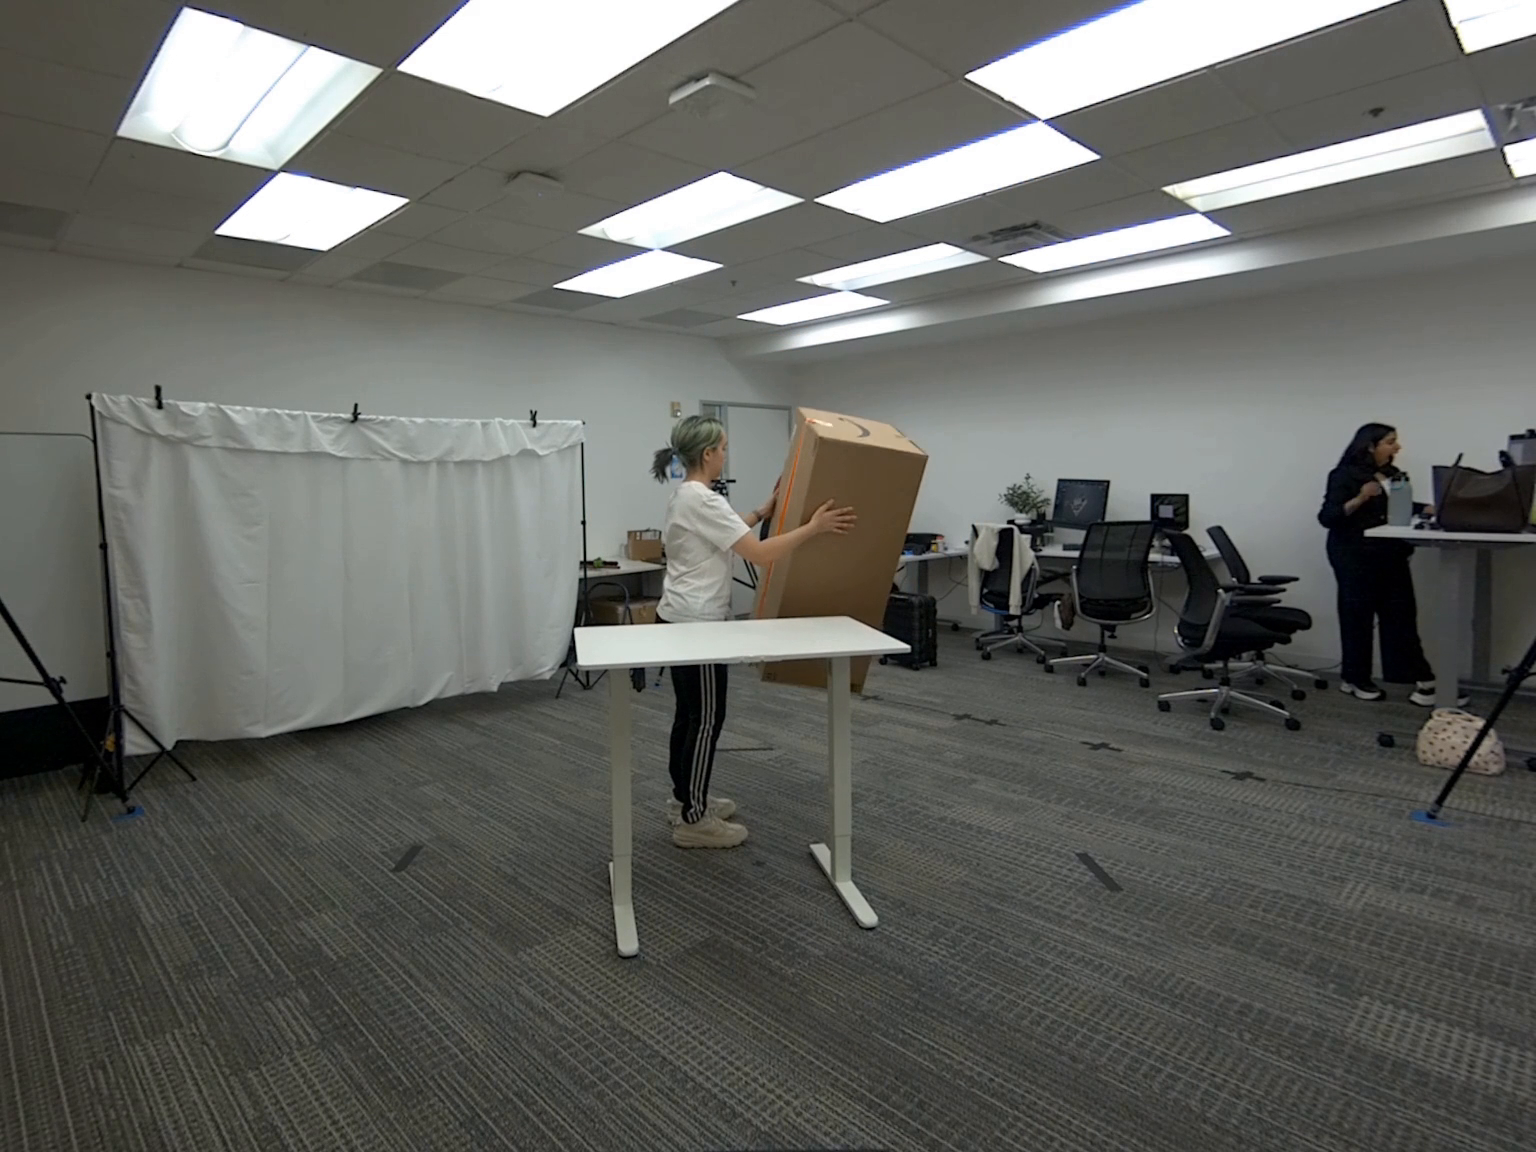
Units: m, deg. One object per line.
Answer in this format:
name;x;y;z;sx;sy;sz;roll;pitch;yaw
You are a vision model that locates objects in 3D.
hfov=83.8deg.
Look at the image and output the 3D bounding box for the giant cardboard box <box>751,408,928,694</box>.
giant cardboard box;0.249;-0.115;3.551;0.443;1.014;0.597;9;19;-9
